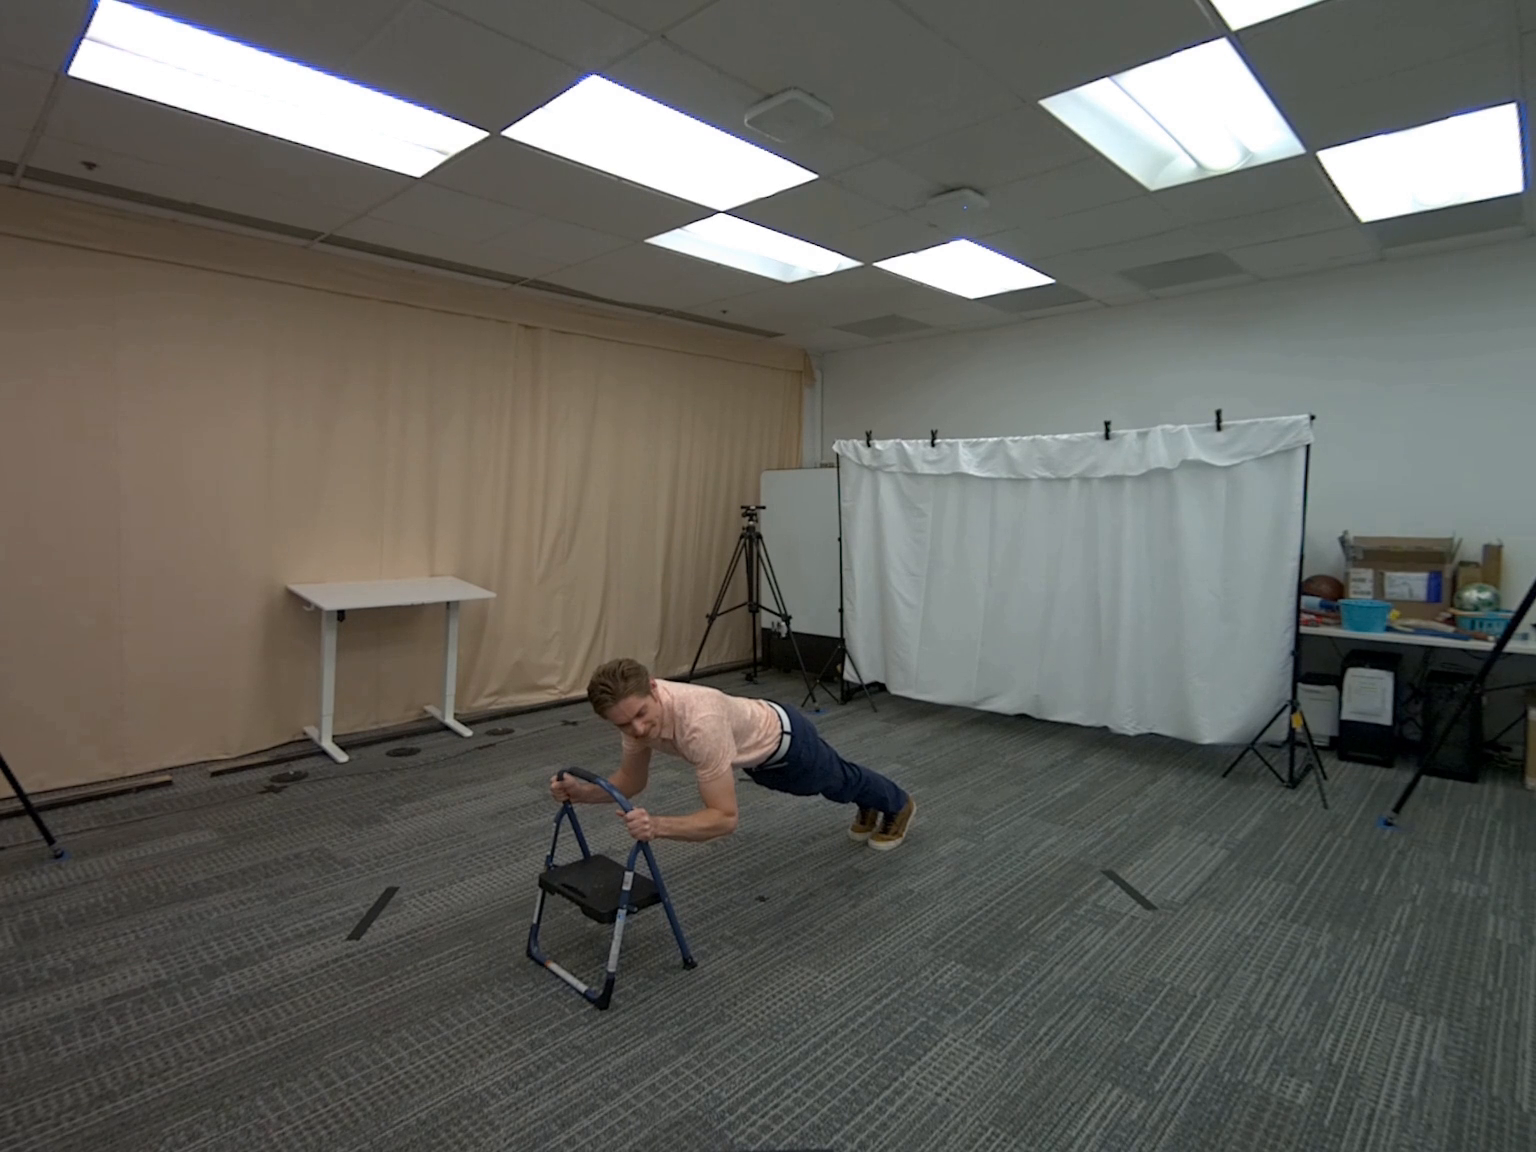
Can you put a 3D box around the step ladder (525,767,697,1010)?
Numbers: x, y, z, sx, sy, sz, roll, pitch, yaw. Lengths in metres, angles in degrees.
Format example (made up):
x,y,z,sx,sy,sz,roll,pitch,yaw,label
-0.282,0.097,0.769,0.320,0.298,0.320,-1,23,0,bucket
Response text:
x,y,z,sx,sy,sz,roll,pitch,yaw,label
-0.488,0.883,2.565,0.445,0.605,0.338,3,5,44,step ladder
